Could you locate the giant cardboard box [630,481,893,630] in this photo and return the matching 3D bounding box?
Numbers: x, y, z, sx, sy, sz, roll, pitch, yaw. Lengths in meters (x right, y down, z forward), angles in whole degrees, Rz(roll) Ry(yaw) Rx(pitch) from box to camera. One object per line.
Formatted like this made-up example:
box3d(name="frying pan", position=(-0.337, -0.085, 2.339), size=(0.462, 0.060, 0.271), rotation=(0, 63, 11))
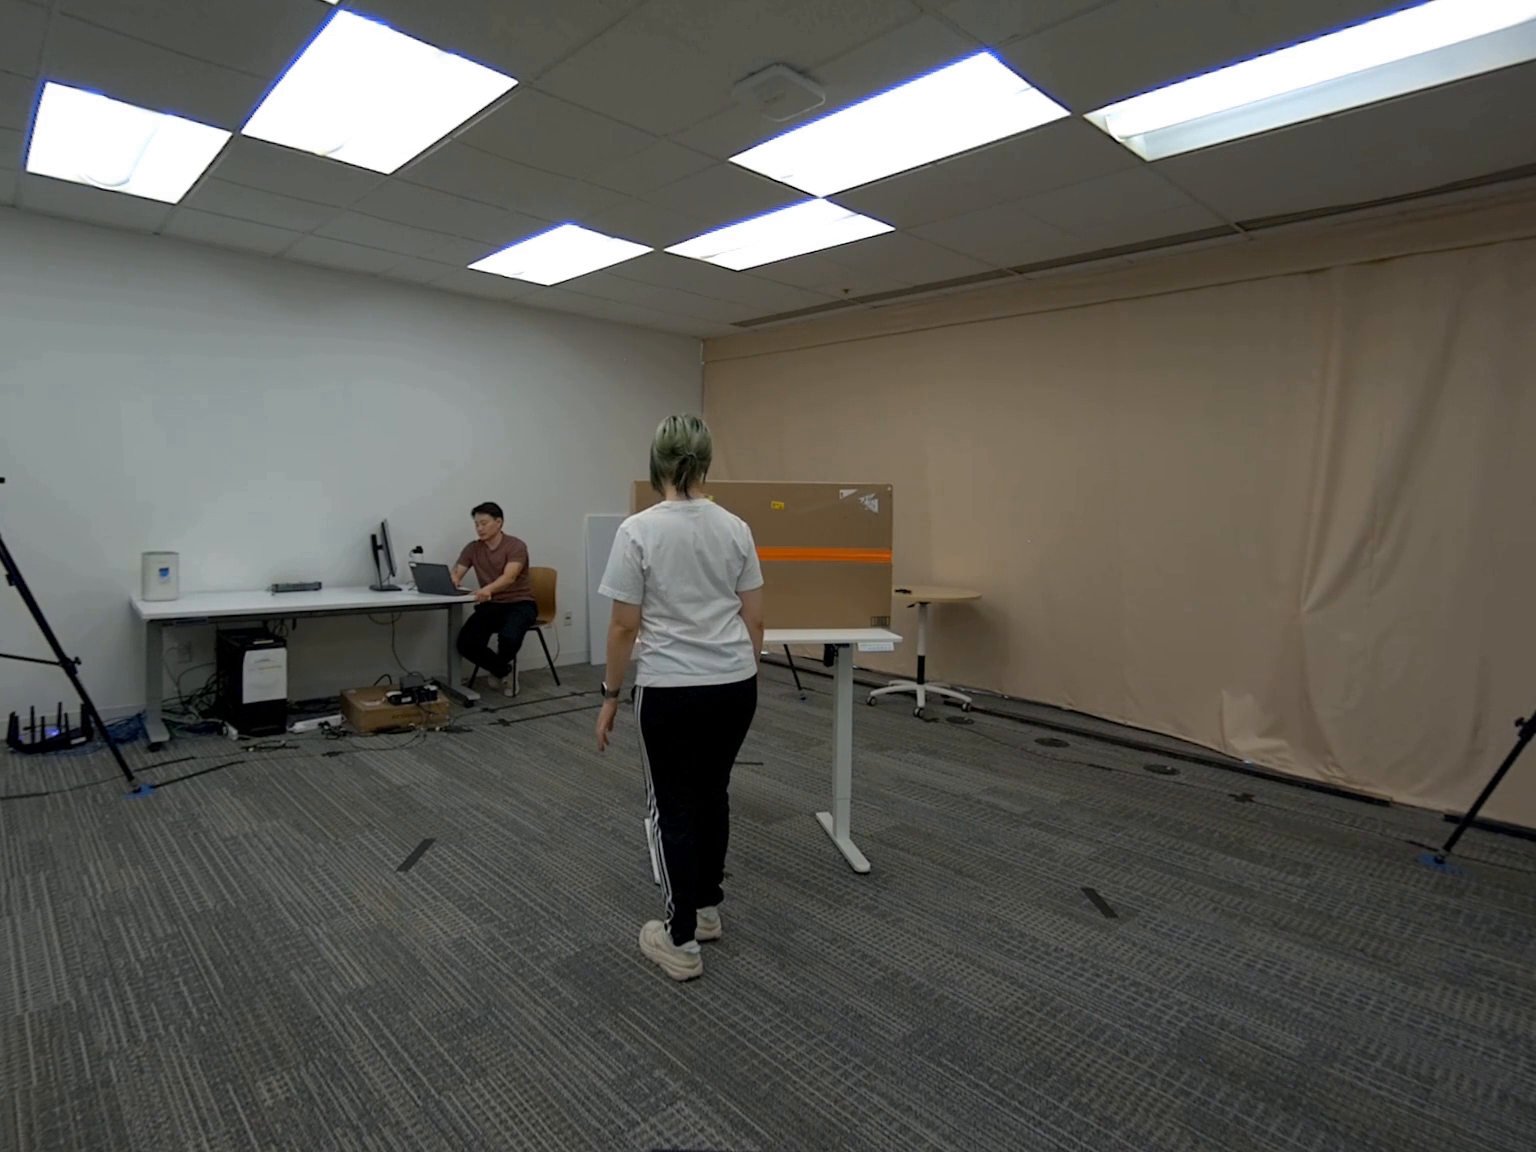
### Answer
box3d(name="giant cardboard box", position=(-0.053, -0.099, 3.473), size=(1.019, 0.582, 0.451), rotation=(-1, 4, -9))
